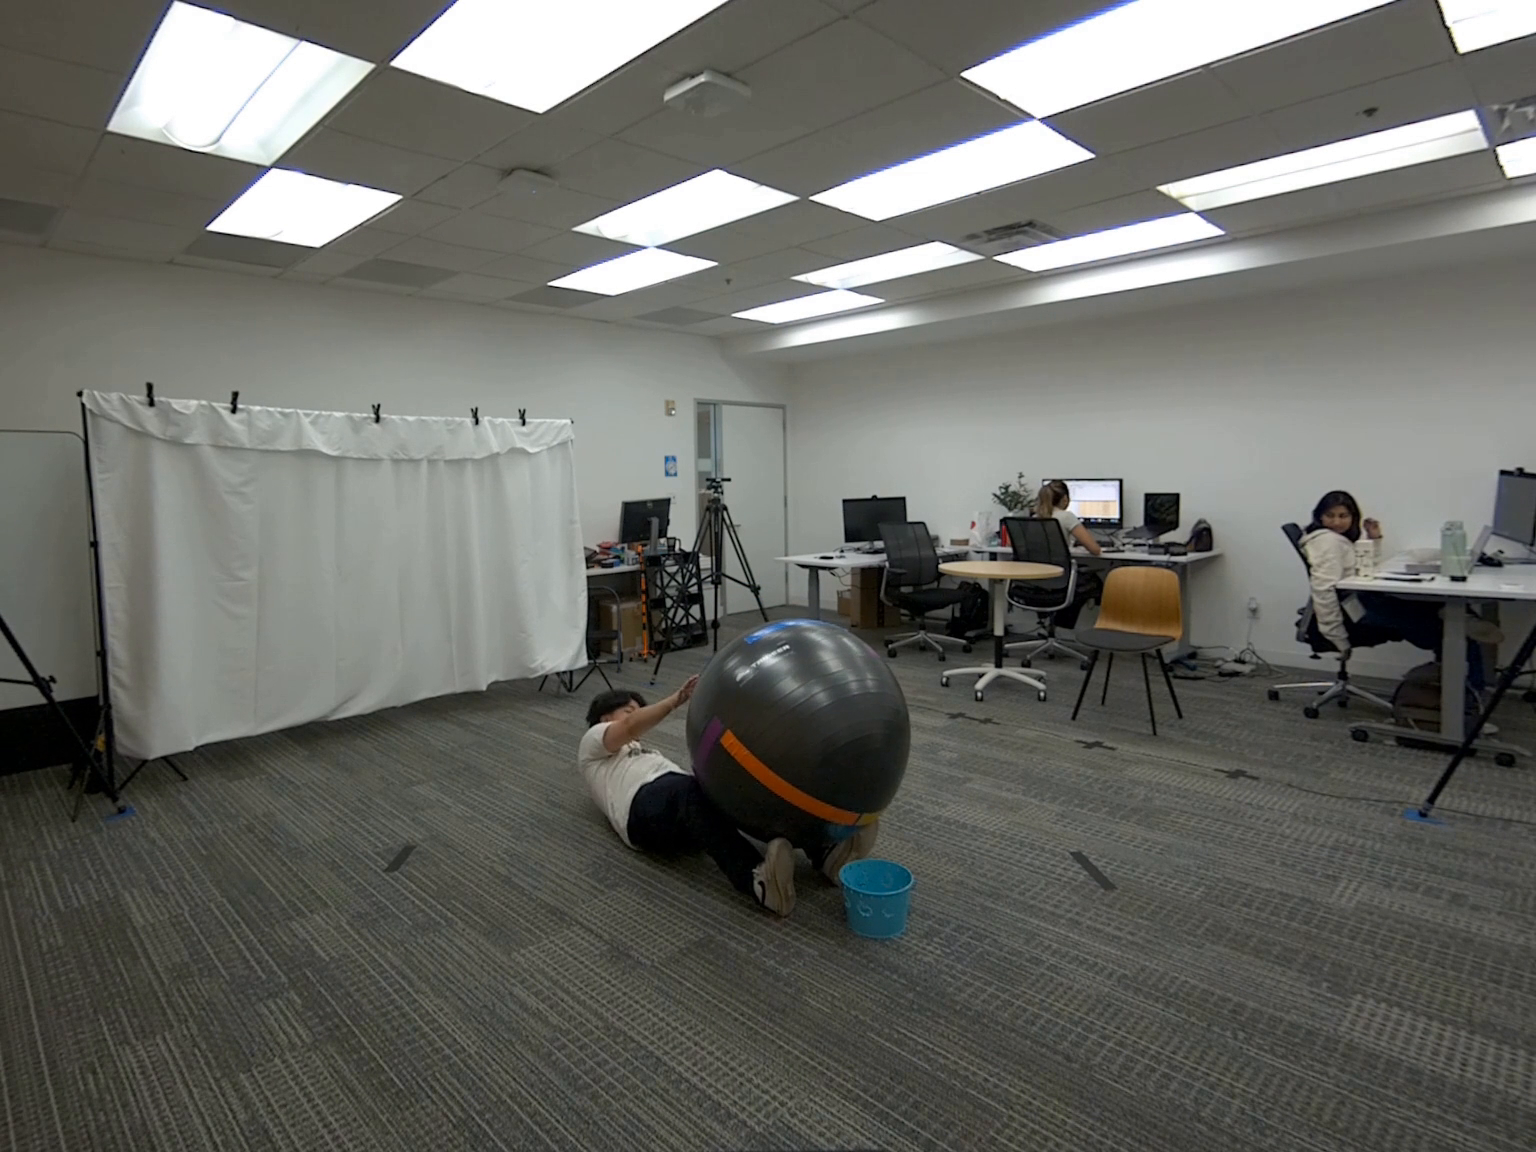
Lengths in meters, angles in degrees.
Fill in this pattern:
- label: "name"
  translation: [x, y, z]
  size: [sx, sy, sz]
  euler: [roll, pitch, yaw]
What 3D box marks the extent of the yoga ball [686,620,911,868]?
- label: "yoga ball"
  translation: [0.098, 0.523, 2.919]
  size: [0.757, 0.755, 0.762]
  euler: [-1, 5, -2]
